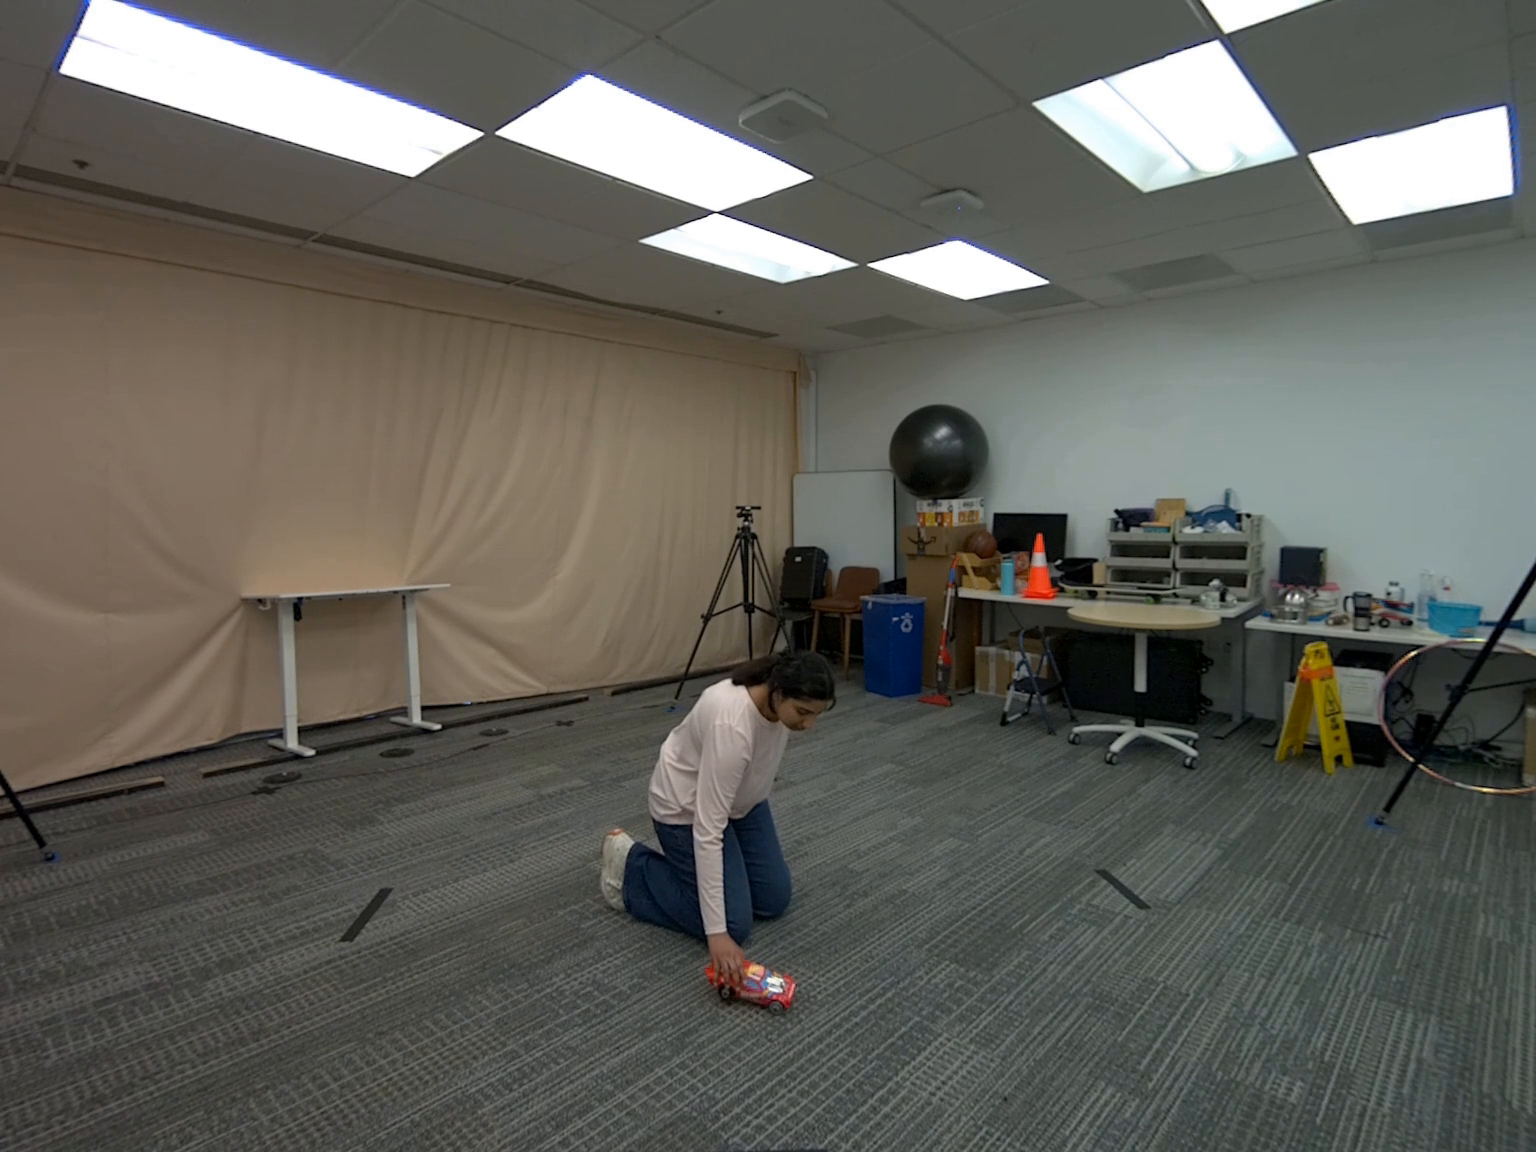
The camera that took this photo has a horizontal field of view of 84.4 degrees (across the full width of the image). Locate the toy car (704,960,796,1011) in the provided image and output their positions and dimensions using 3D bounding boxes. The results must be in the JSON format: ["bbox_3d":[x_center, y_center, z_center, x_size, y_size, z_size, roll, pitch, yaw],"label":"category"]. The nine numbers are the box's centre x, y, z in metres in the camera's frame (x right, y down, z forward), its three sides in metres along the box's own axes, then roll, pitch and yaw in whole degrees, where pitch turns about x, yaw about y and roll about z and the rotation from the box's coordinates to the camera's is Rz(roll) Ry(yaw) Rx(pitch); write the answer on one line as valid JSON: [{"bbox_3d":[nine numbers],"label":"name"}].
[{"bbox_3d":[-0.049,1.140,2.379,0.259,0.083,0.129,16,16,13],"label":"toy car"}]
